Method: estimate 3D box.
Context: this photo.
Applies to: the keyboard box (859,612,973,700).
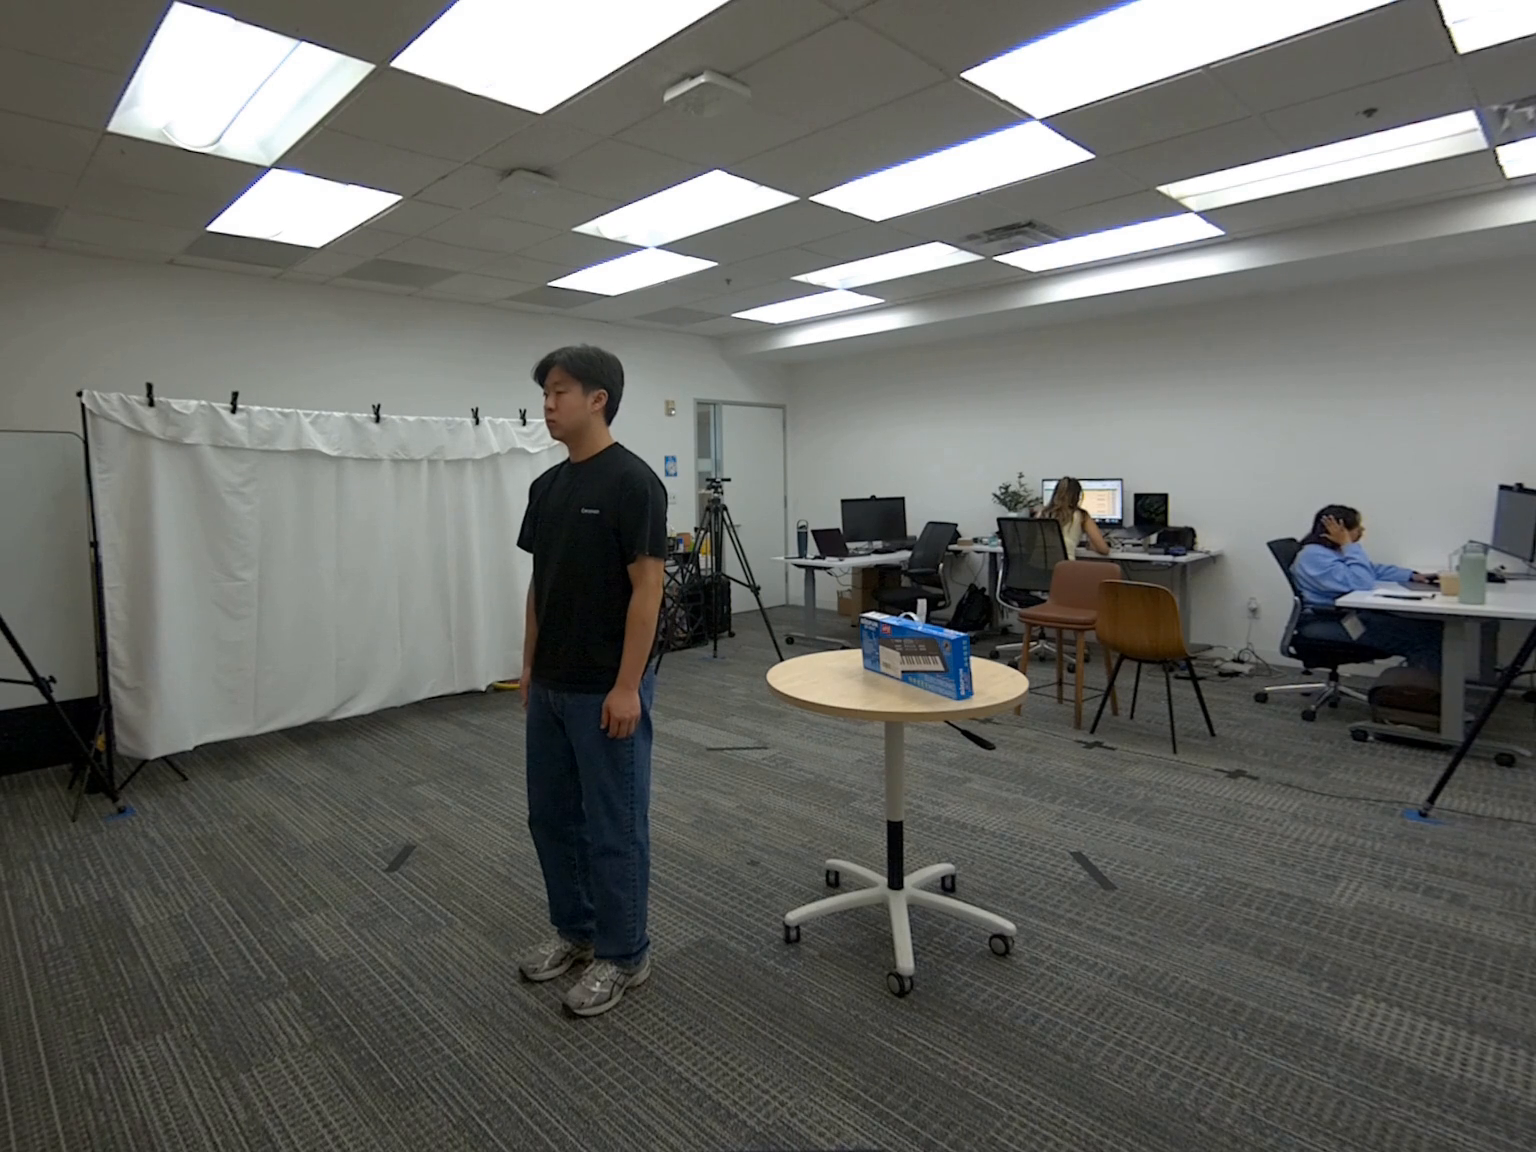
[{"bbox_3d":[0.419,0.224,2.479,0.058,0.174,0.448,-9,10,-26],"label":"keyboard box"}]
